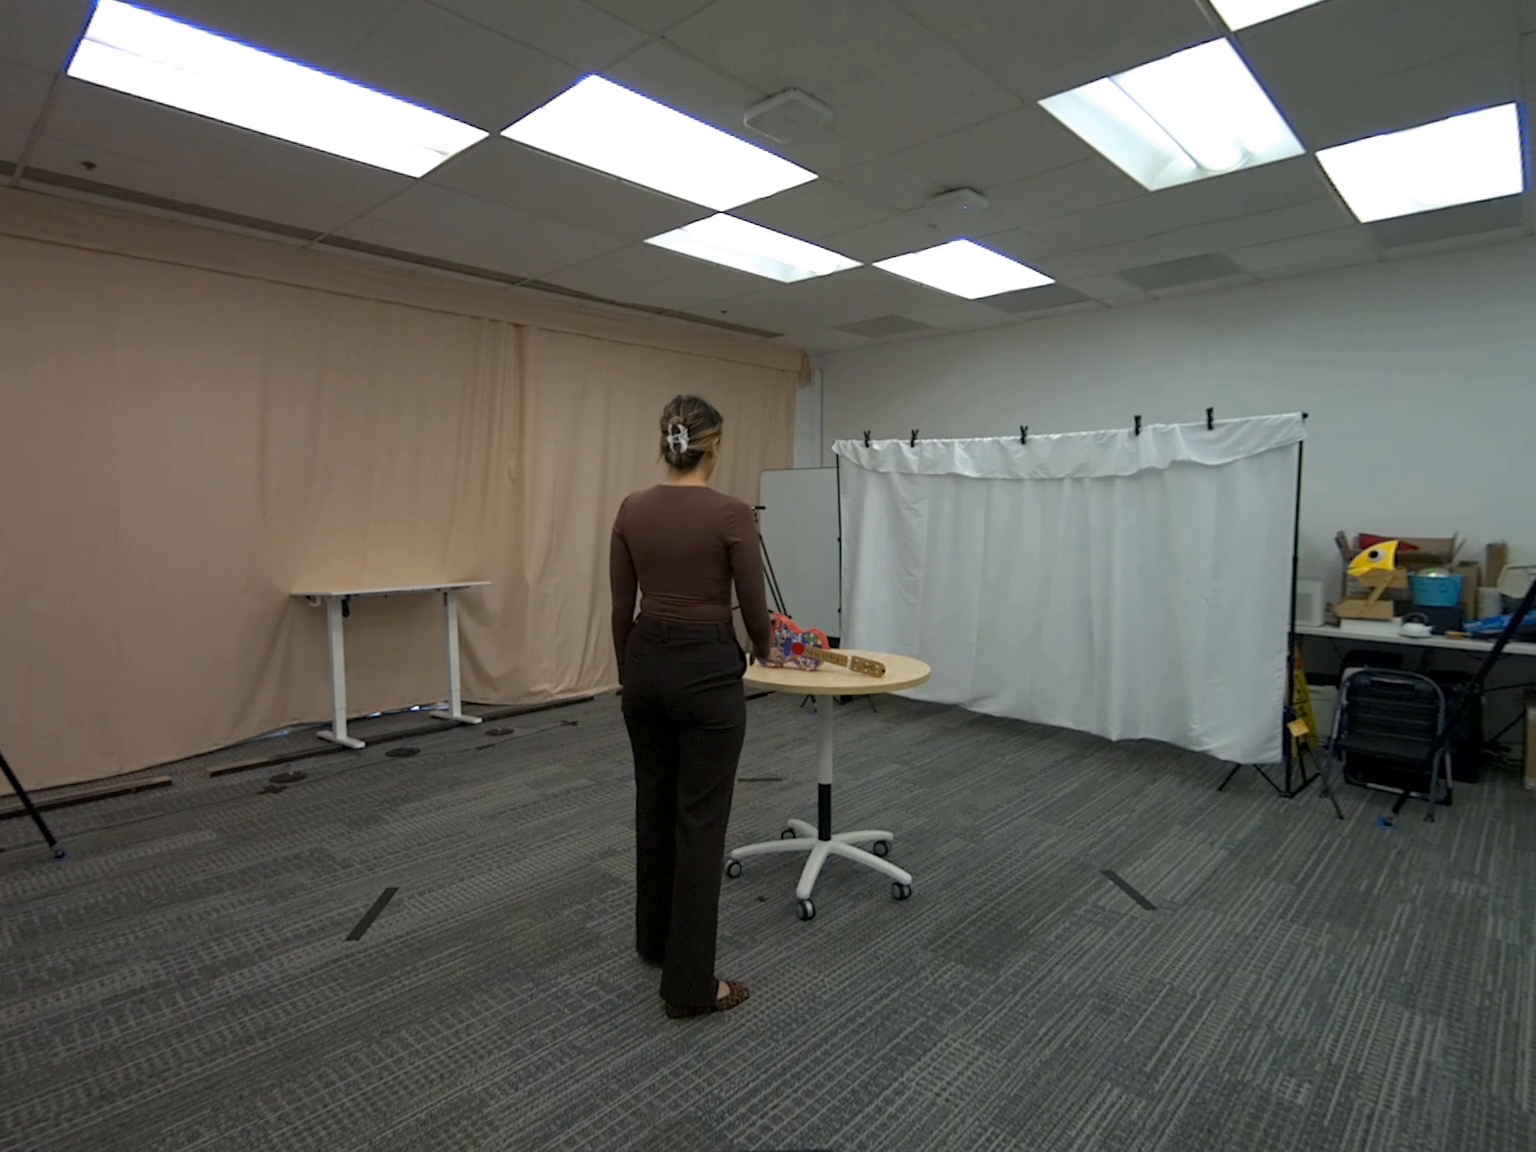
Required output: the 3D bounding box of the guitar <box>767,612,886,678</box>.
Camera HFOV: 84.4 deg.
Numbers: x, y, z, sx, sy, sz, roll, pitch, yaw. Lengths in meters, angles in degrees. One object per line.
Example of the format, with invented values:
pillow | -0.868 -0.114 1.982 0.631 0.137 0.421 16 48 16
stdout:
guitar | 0.183 0.302 3.027 0.511 0.192 0.069 22 11 24
